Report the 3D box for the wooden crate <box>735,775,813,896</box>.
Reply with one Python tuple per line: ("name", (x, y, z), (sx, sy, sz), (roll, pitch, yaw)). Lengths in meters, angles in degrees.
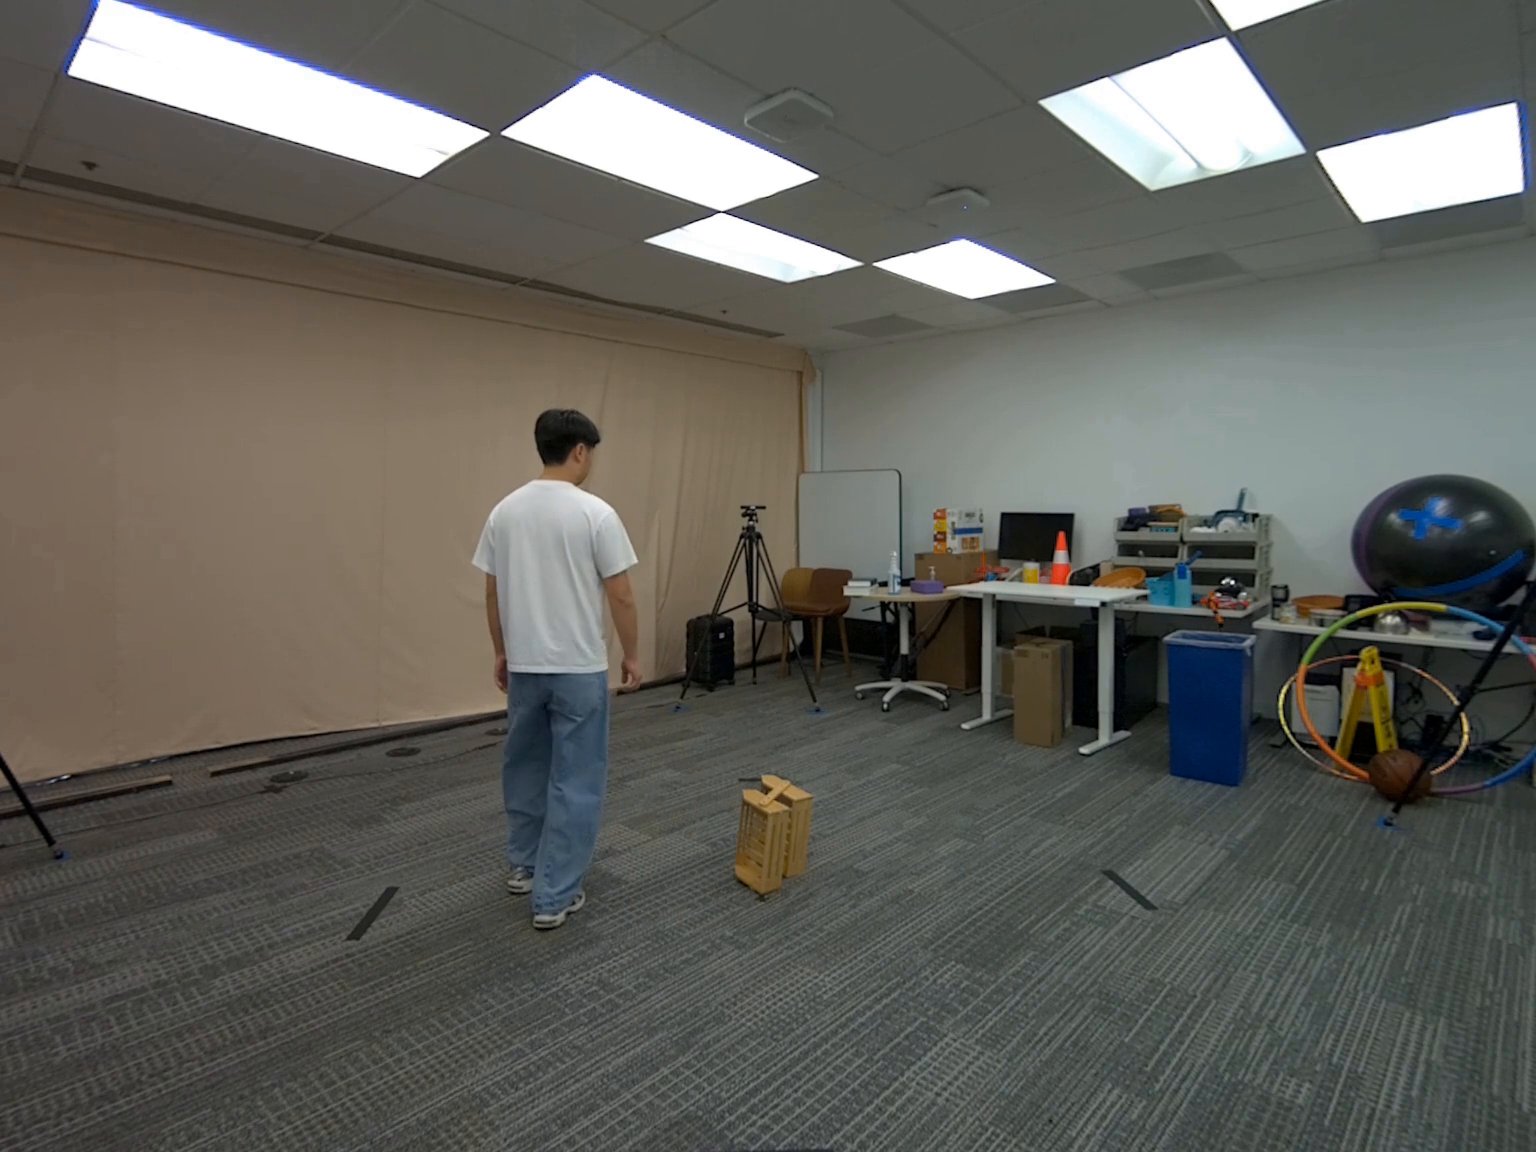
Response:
("wooden crate", (-0.007, 0.959, 3.168), (0.264, 0.323, 0.313), (2, 7, -41))
